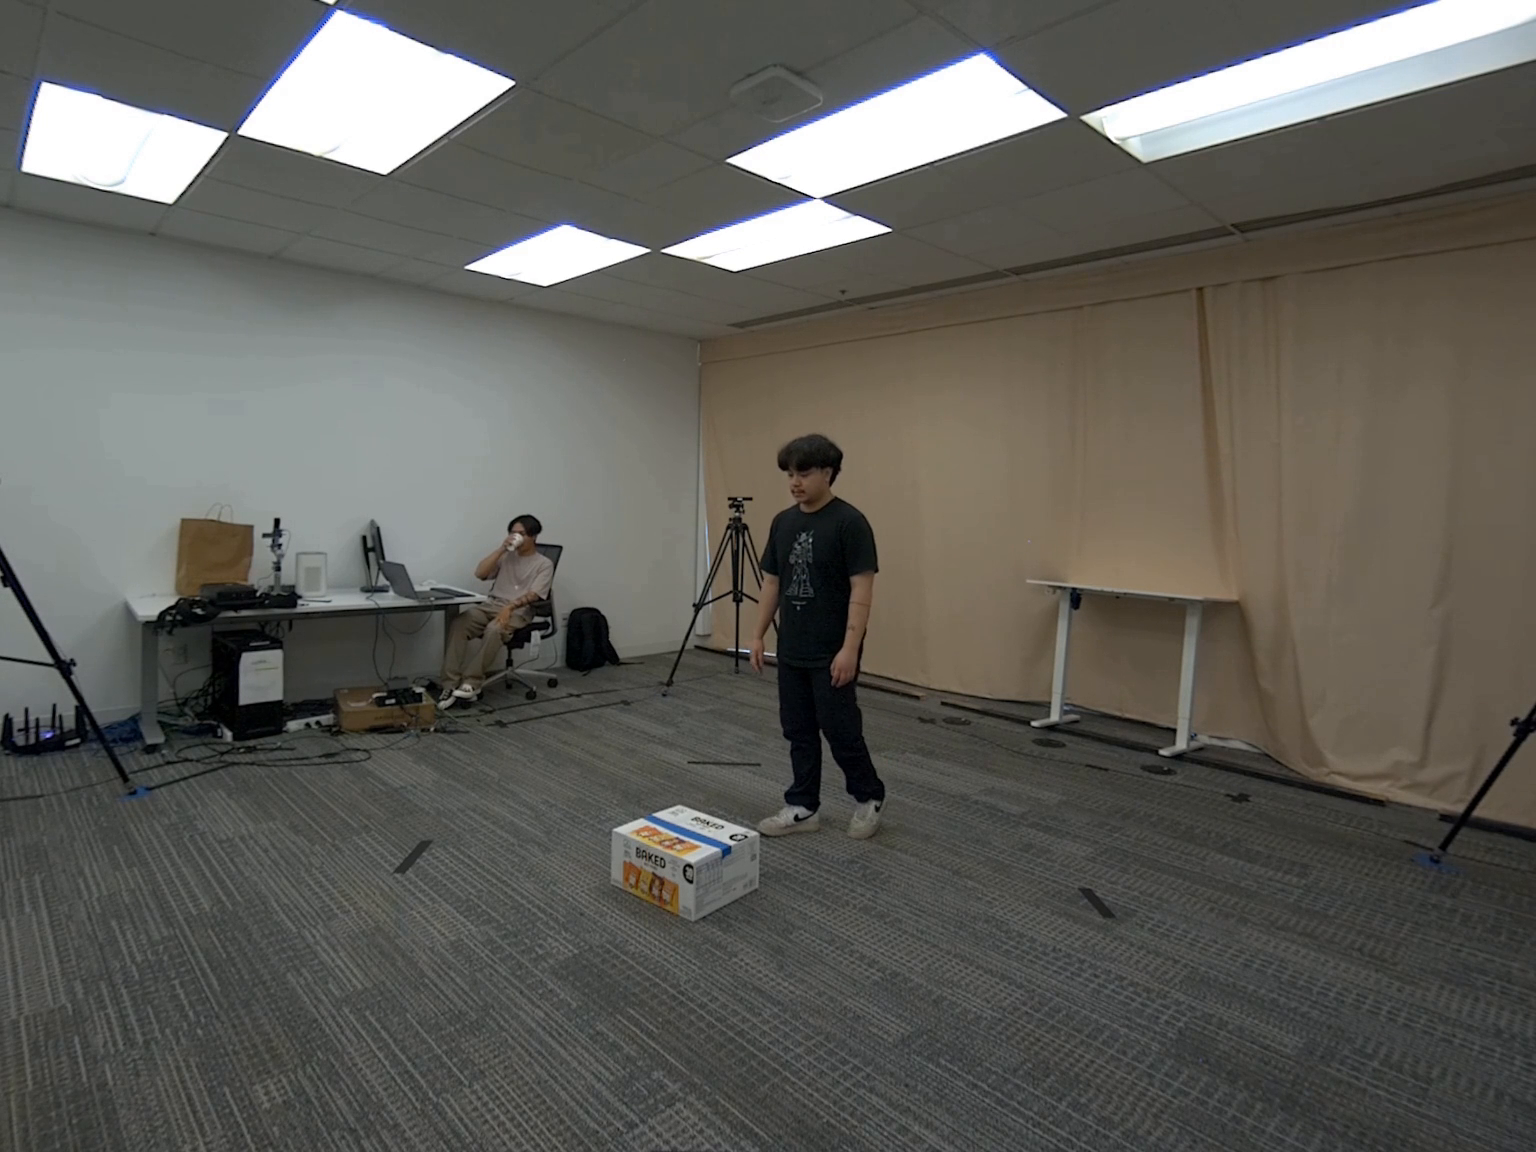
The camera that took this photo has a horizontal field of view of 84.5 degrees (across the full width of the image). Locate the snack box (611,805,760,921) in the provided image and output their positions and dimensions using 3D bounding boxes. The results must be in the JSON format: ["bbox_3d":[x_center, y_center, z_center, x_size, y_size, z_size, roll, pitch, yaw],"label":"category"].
[{"bbox_3d":[-0.300,1.012,3.000,0.415,0.205,0.333,5,6,39],"label":"snack box"}]
